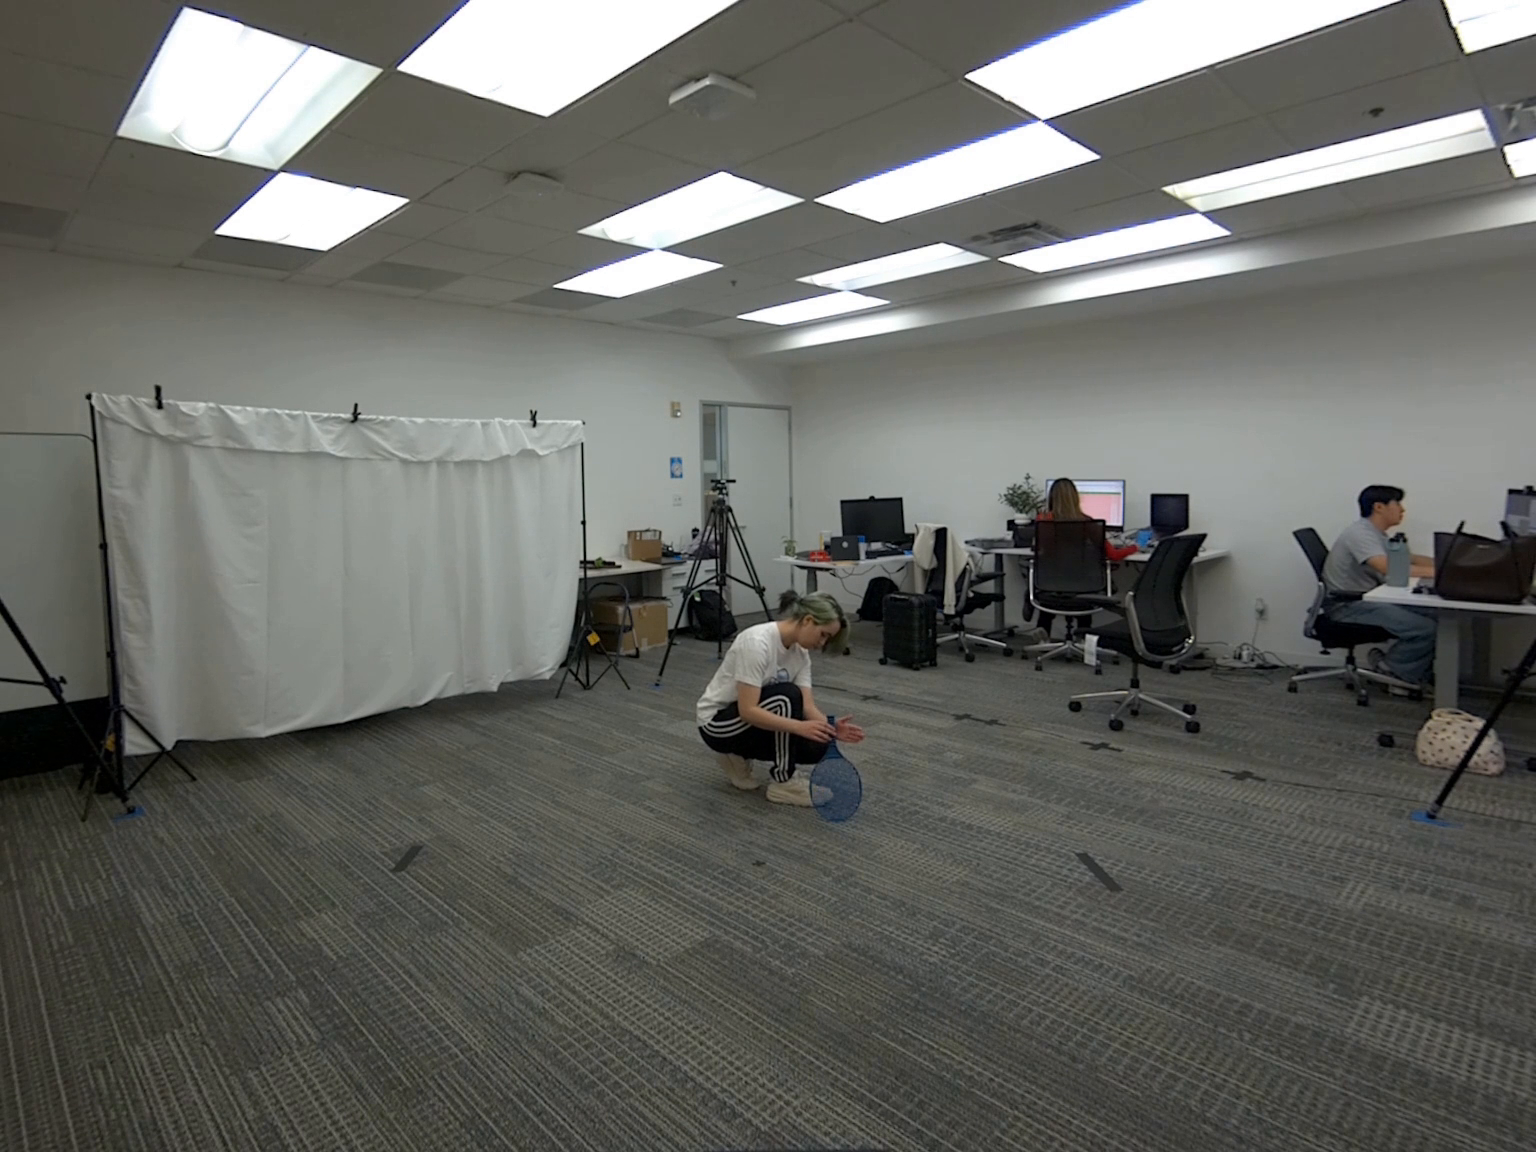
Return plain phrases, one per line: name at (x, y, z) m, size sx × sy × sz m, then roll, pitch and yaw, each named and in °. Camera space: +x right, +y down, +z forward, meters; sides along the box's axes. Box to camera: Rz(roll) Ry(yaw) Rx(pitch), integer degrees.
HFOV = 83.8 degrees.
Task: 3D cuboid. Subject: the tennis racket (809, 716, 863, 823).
tennis racket at (0.276, 0.793, 3.492) m, size 0.215 × 0.432 × 0.032 m, roll -6°, pitch 2°, yaw 5°
